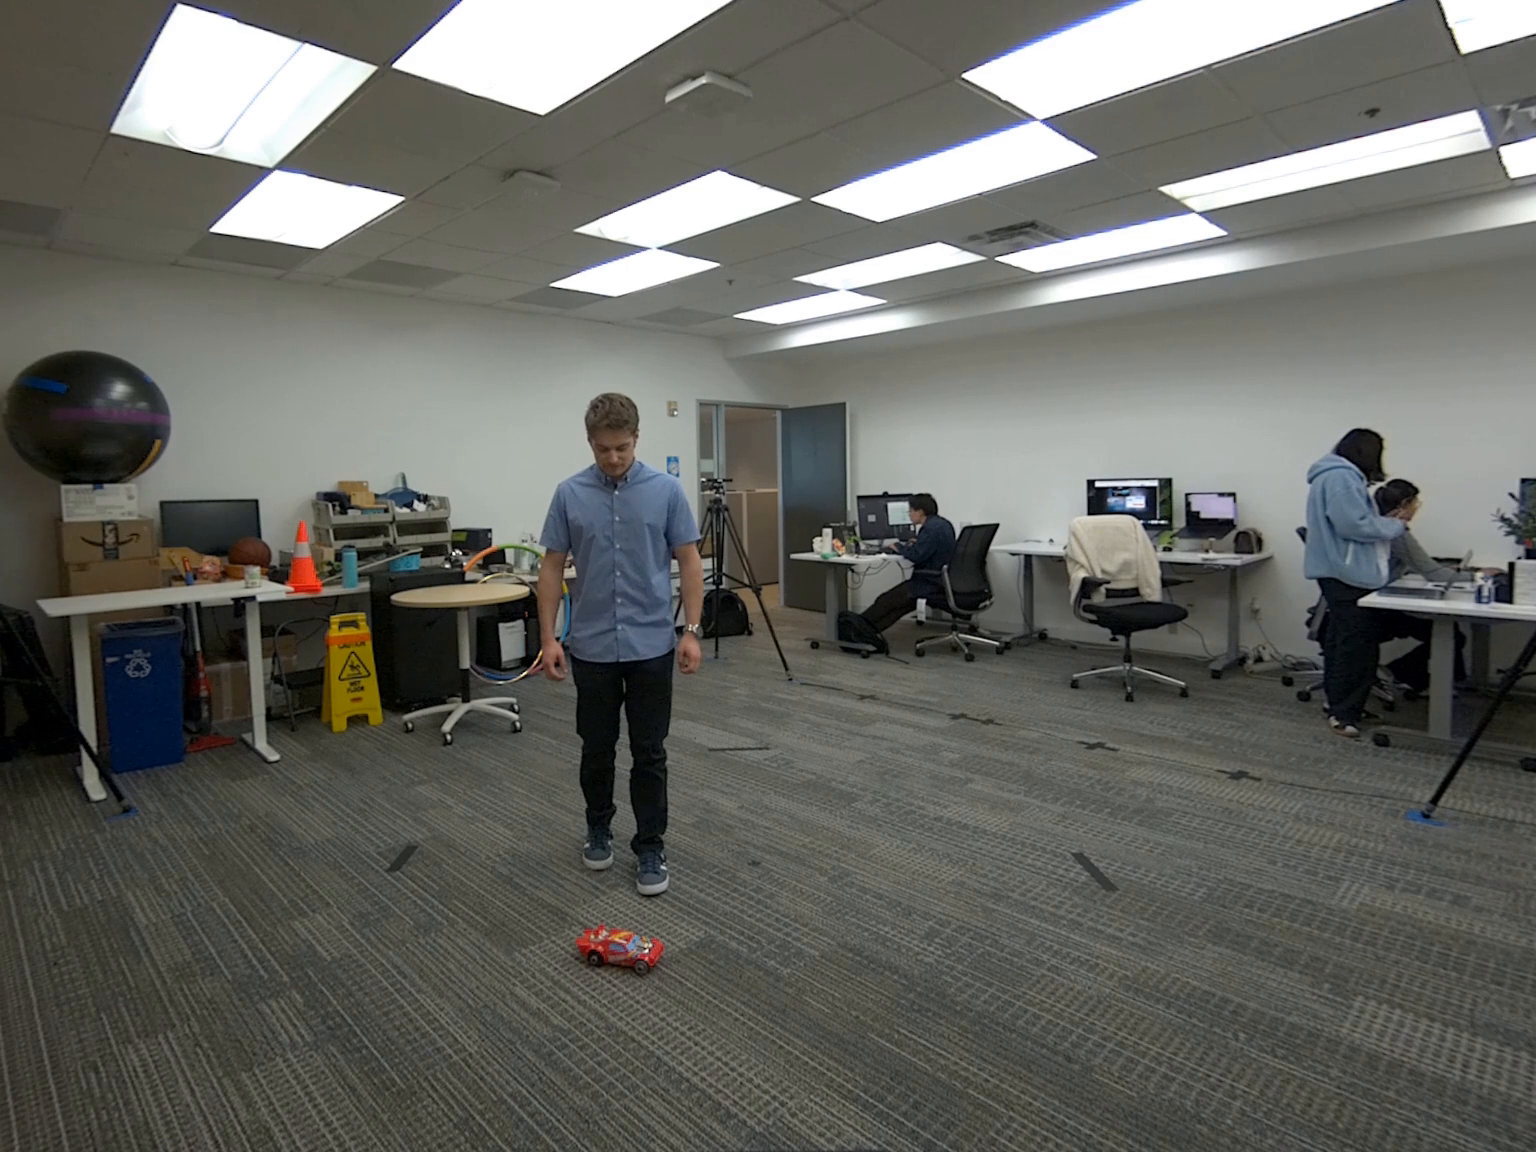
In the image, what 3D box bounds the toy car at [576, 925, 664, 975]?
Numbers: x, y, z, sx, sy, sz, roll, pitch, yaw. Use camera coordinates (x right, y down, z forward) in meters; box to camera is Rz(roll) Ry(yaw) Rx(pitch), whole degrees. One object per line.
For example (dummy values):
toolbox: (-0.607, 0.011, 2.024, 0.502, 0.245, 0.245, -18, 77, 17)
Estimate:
toy car: (-0.438, 1.094, 2.502, 0.259, 0.083, 0.129, 11, 9, 15)
